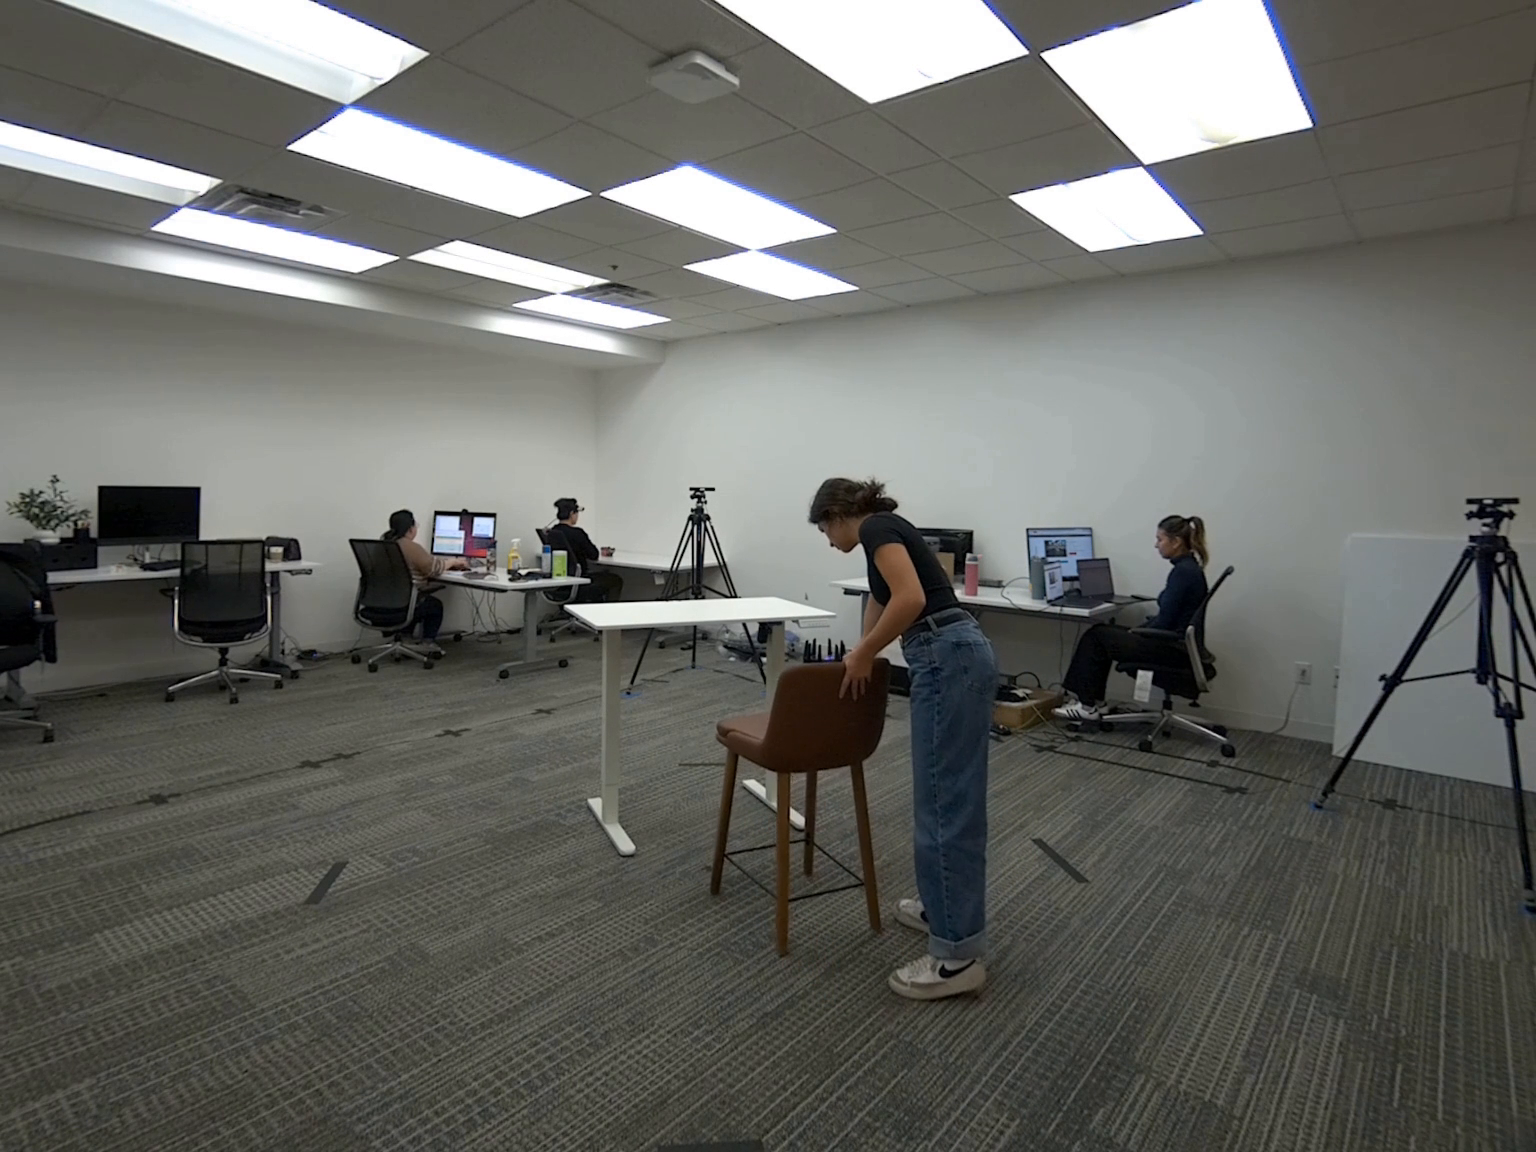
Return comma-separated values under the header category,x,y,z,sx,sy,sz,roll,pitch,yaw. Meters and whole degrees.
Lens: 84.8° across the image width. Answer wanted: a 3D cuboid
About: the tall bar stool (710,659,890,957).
category,x,y,z,sx,sy,sz,roll,pitch,yaw
tall bar stool,0.095,0.667,2.785,0.445,0.886,0.482,0,5,-28
